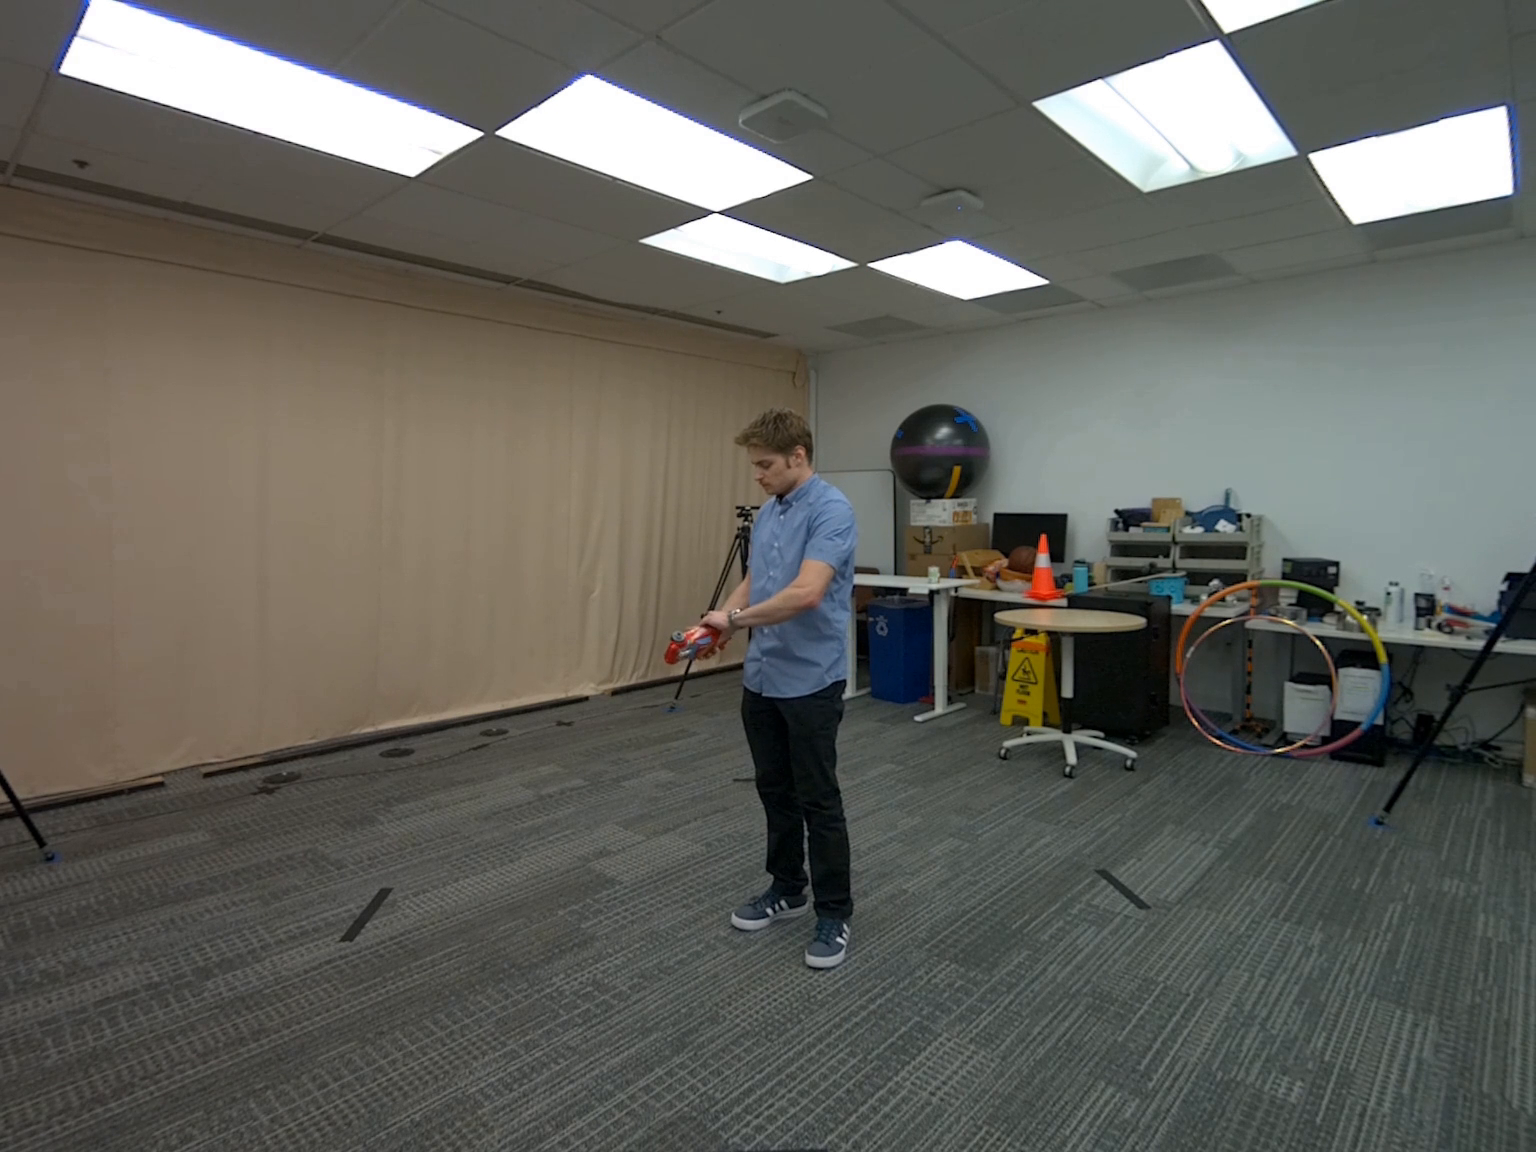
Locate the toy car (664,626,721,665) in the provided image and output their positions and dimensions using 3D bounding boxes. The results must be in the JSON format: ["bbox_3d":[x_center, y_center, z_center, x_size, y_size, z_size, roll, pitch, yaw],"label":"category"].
[{"bbox_3d":[-0.216,0.208,2.668,0.248,0.085,0.130,-7,-38,-29],"label":"toy car"}]
